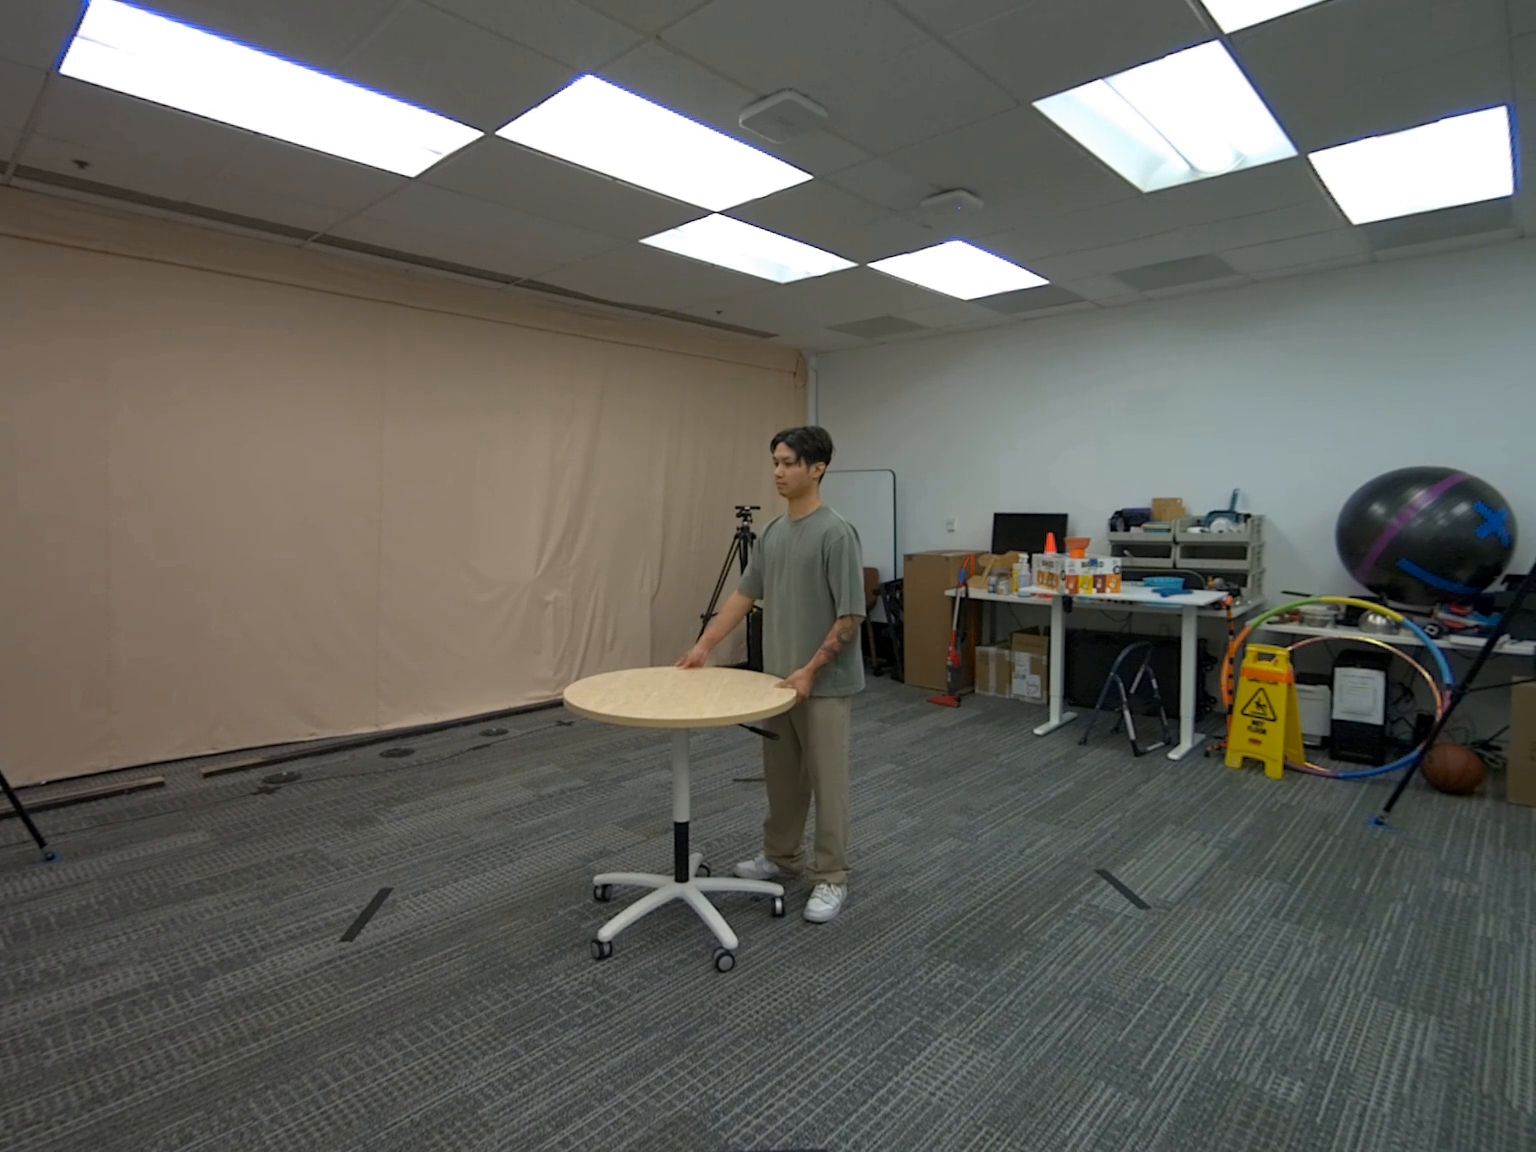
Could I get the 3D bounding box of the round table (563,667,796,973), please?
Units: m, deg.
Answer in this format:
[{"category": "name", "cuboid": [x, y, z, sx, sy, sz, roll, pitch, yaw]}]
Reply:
[{"category": "round table", "cuboid": [-0.301, 0.765, 2.816, 0.784, 0.785, 0.788, 0, 4, -2]}]
